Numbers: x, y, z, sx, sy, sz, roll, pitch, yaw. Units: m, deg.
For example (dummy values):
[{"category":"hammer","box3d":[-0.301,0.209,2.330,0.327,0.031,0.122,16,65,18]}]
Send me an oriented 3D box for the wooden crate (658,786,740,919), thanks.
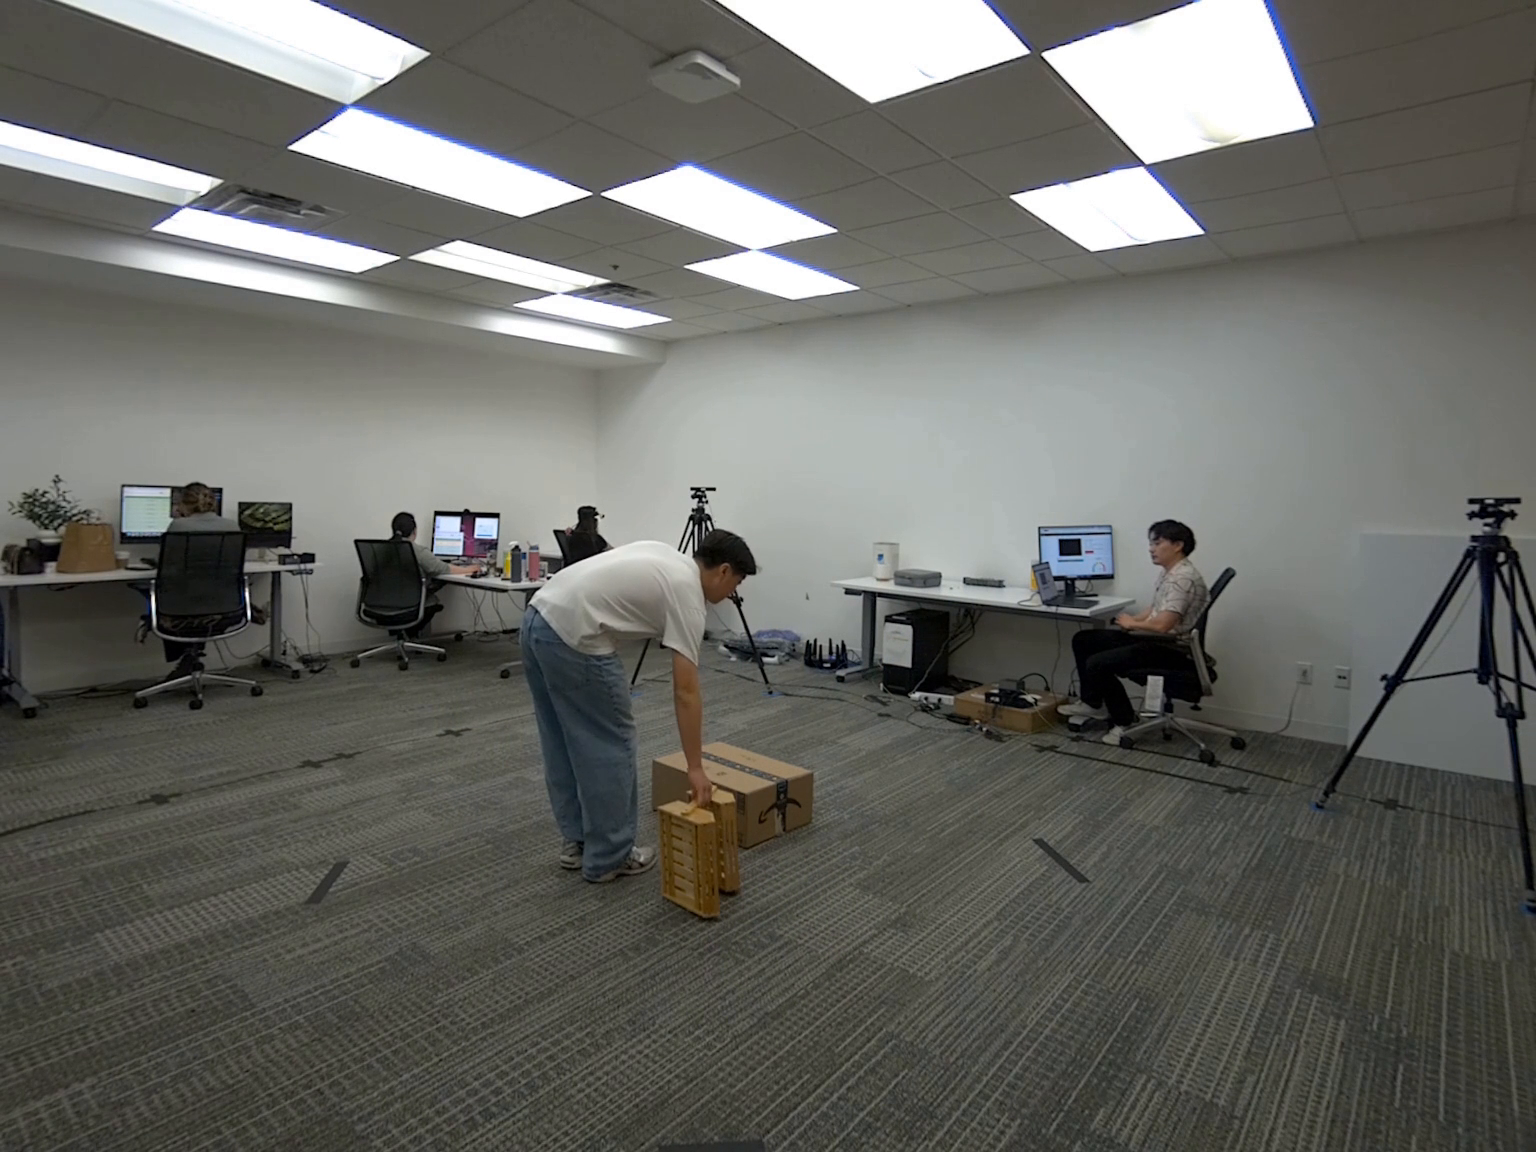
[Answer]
[{"category":"wooden crate","box3d":[-0.215,0.916,2.894,0.265,0.324,0.311,-6,3,-43]}]
